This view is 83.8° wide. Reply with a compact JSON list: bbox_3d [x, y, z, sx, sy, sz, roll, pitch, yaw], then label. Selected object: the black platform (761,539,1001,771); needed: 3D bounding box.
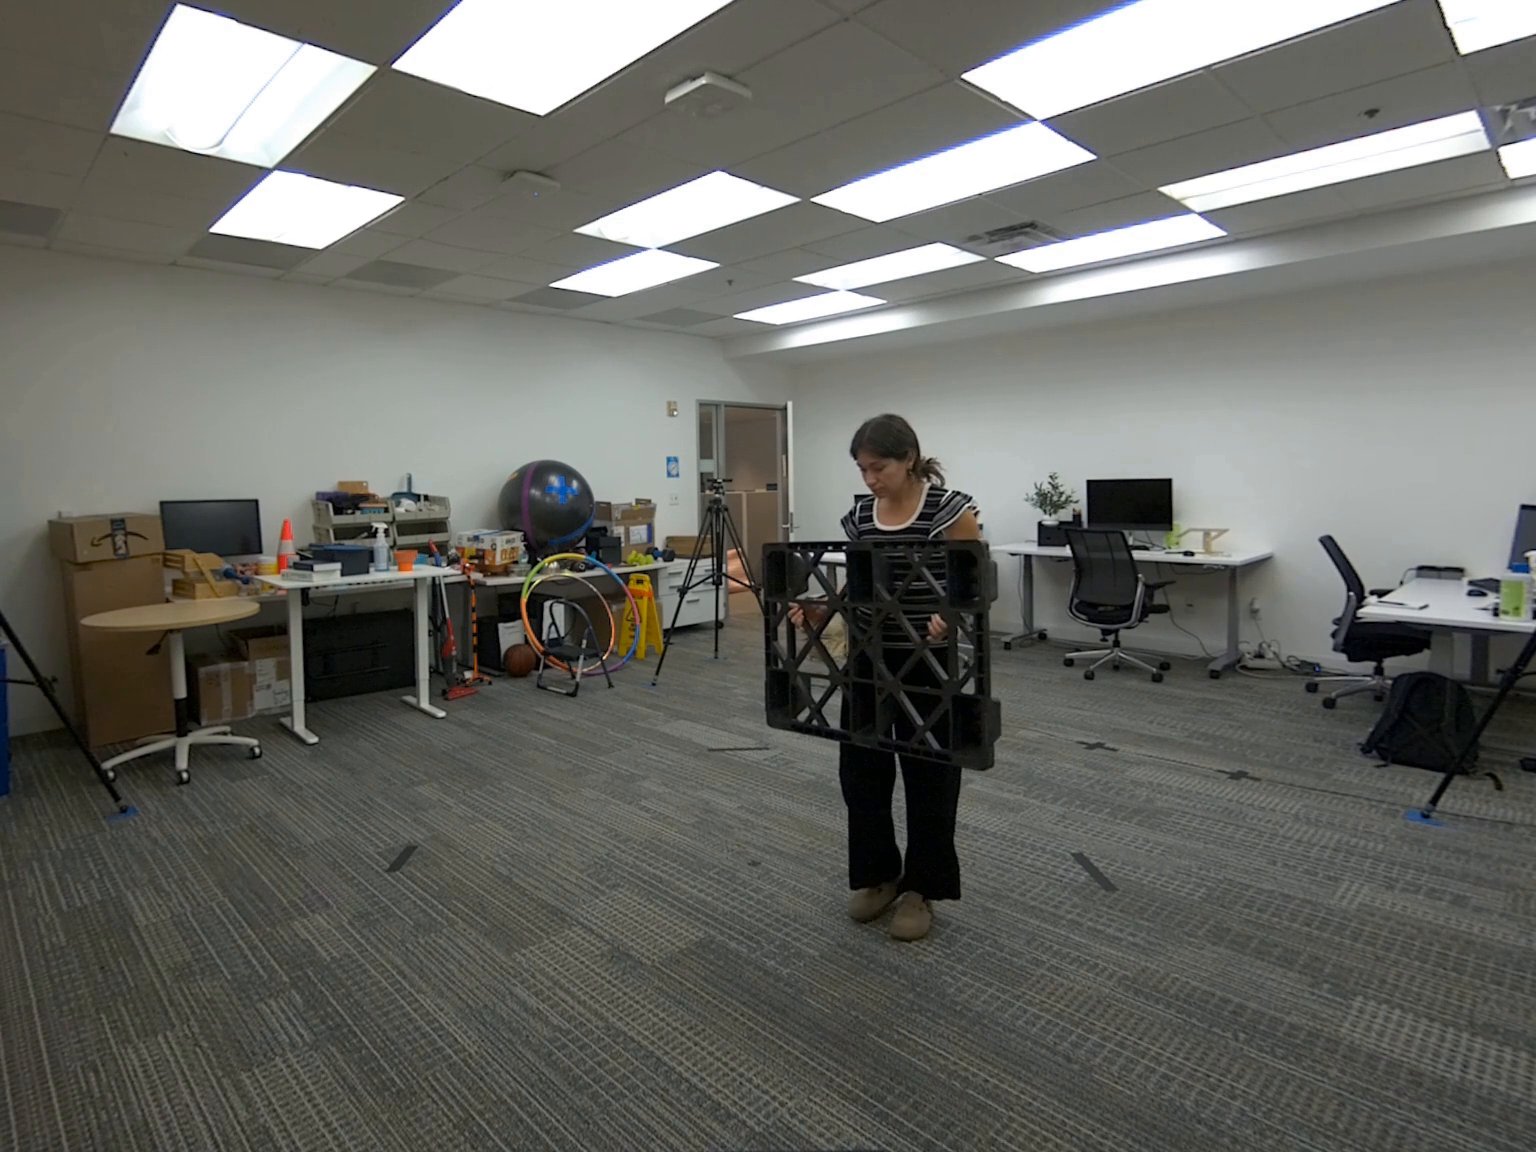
[{"bbox_3d":[0.312,0.196,2.529,0.139,0.605,0.829,-1,0,-44],"label":"black platform"}]
